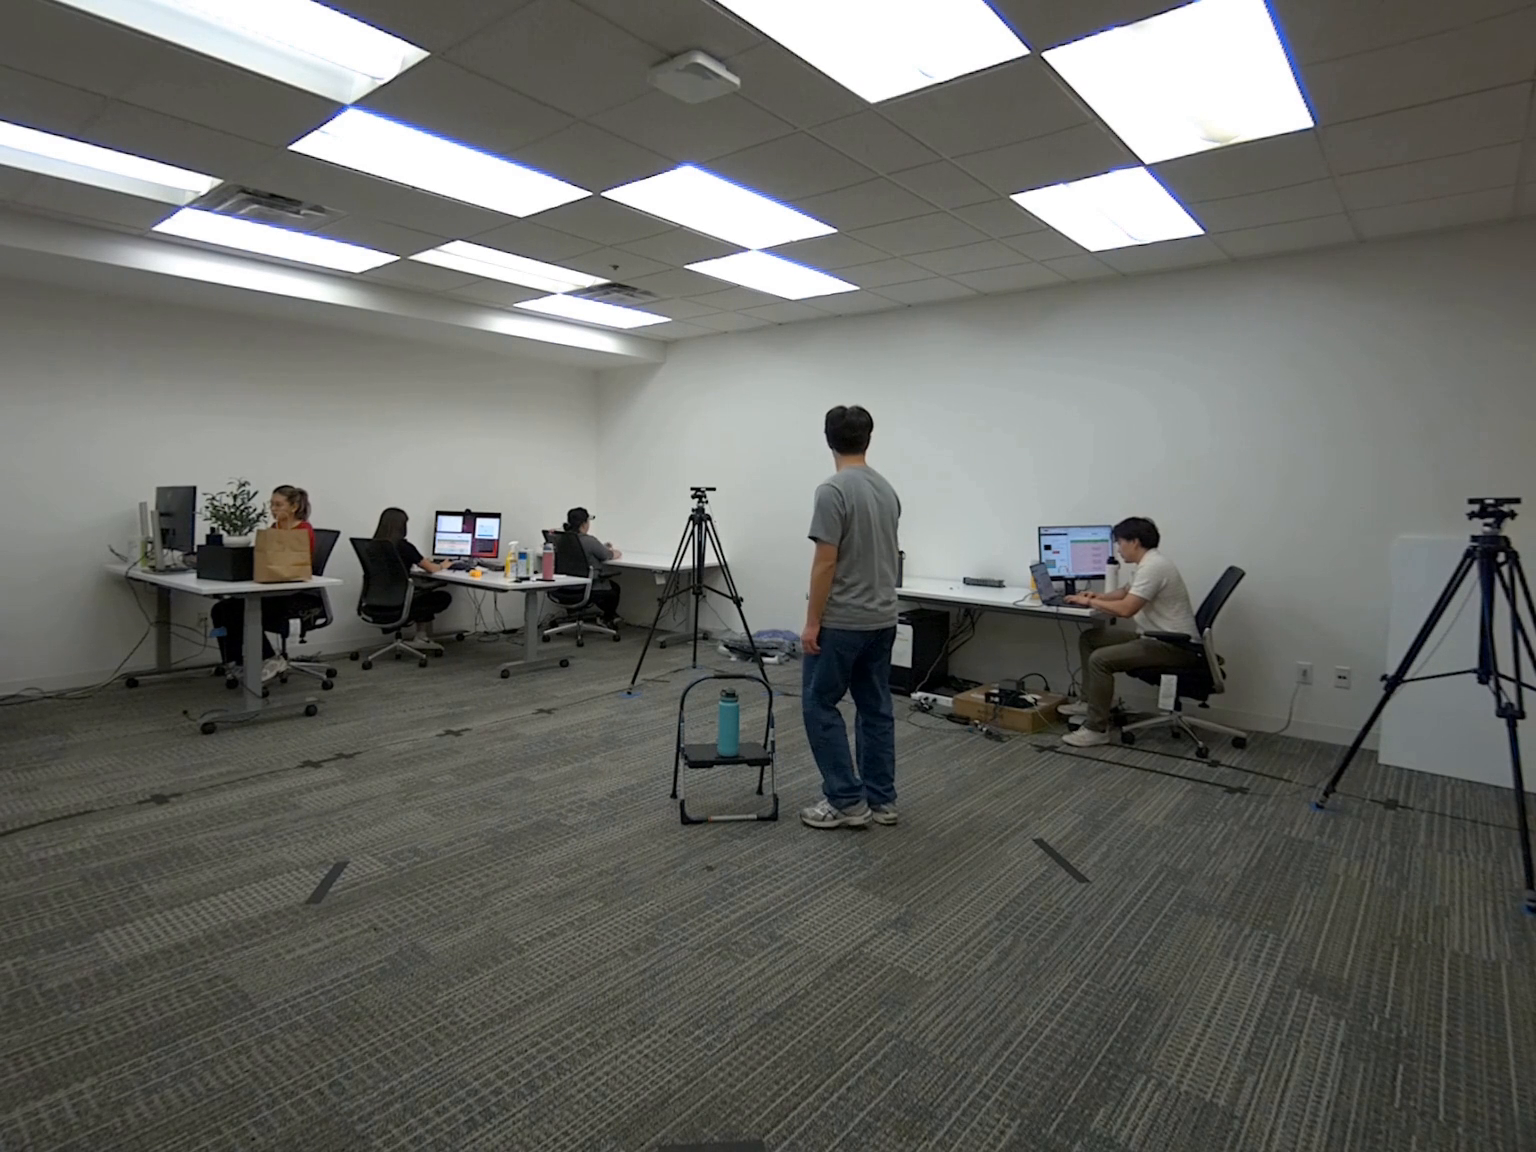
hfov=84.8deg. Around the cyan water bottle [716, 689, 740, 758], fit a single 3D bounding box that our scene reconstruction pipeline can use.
[{"bbox_3d":[-0.169,0.617,3.631,0.092,0.283,0.092,0,1,-2],"label":"cyan water bottle"}]
